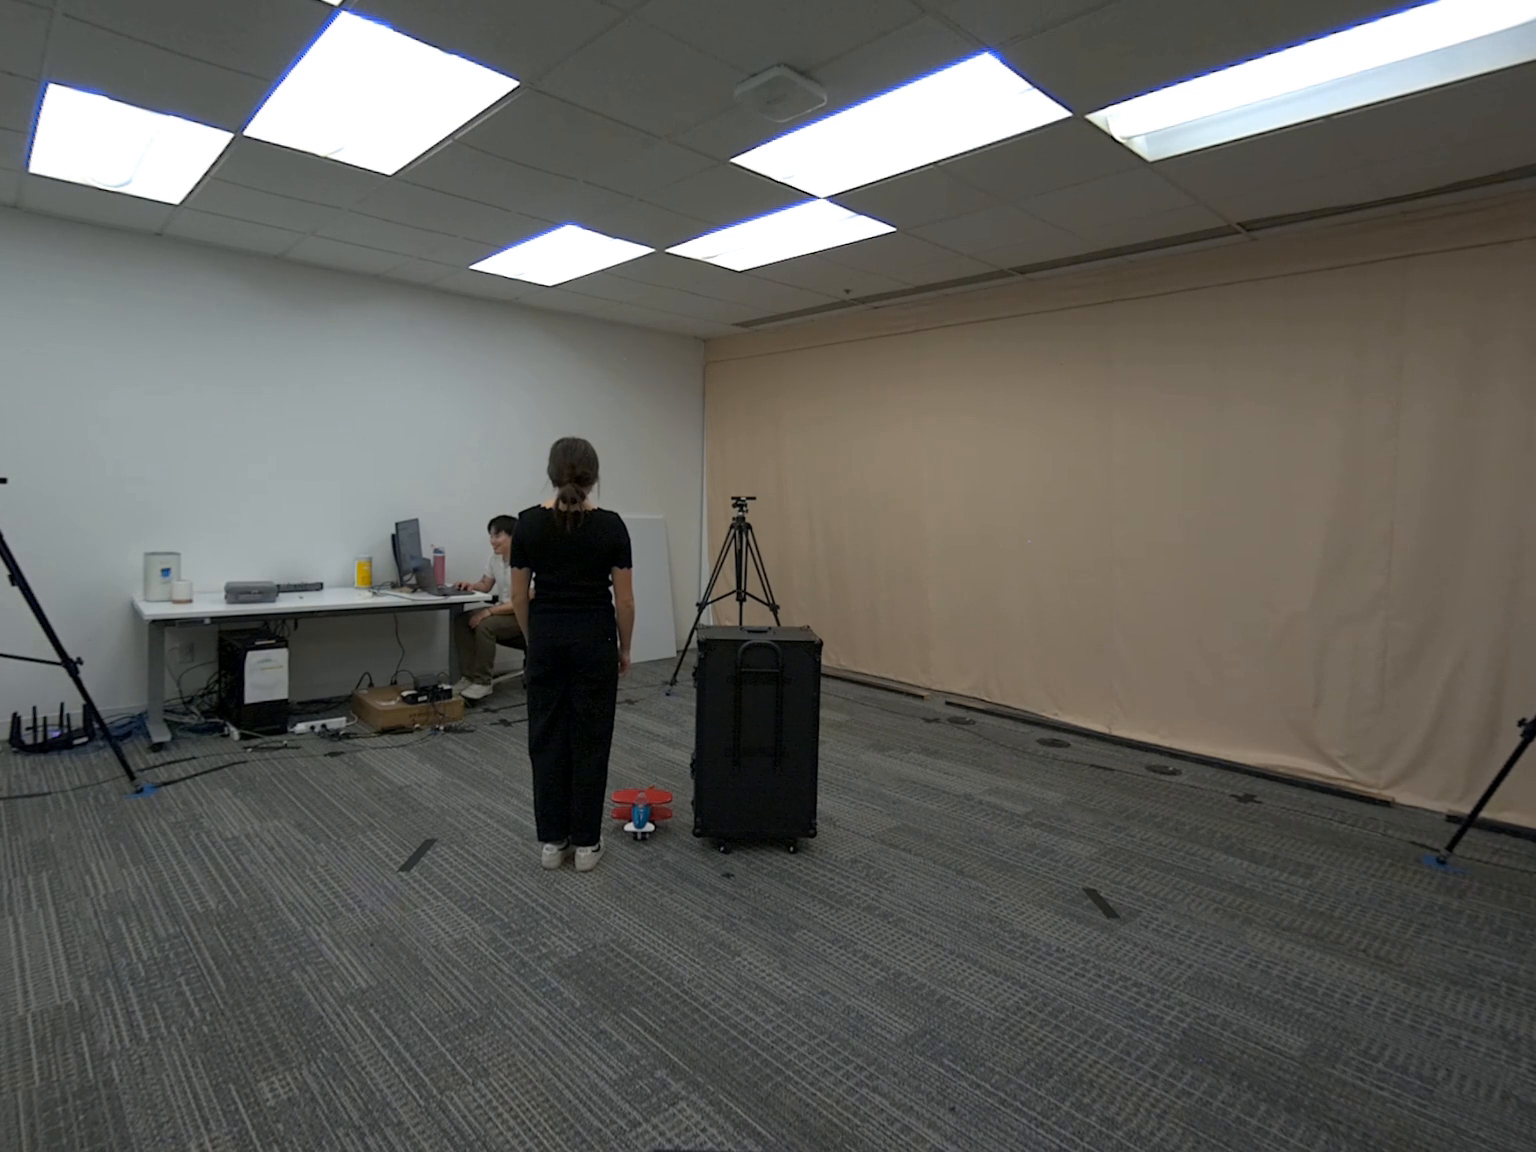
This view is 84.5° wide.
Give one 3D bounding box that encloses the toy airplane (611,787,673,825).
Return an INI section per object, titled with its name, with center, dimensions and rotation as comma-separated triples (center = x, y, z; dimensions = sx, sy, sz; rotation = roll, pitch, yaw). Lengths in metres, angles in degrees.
[toy airplane]
center = -0.514, 0.982, 3.502
dimensions = 0.246, 0.156, 0.265
rotation = -1, 4, -31
